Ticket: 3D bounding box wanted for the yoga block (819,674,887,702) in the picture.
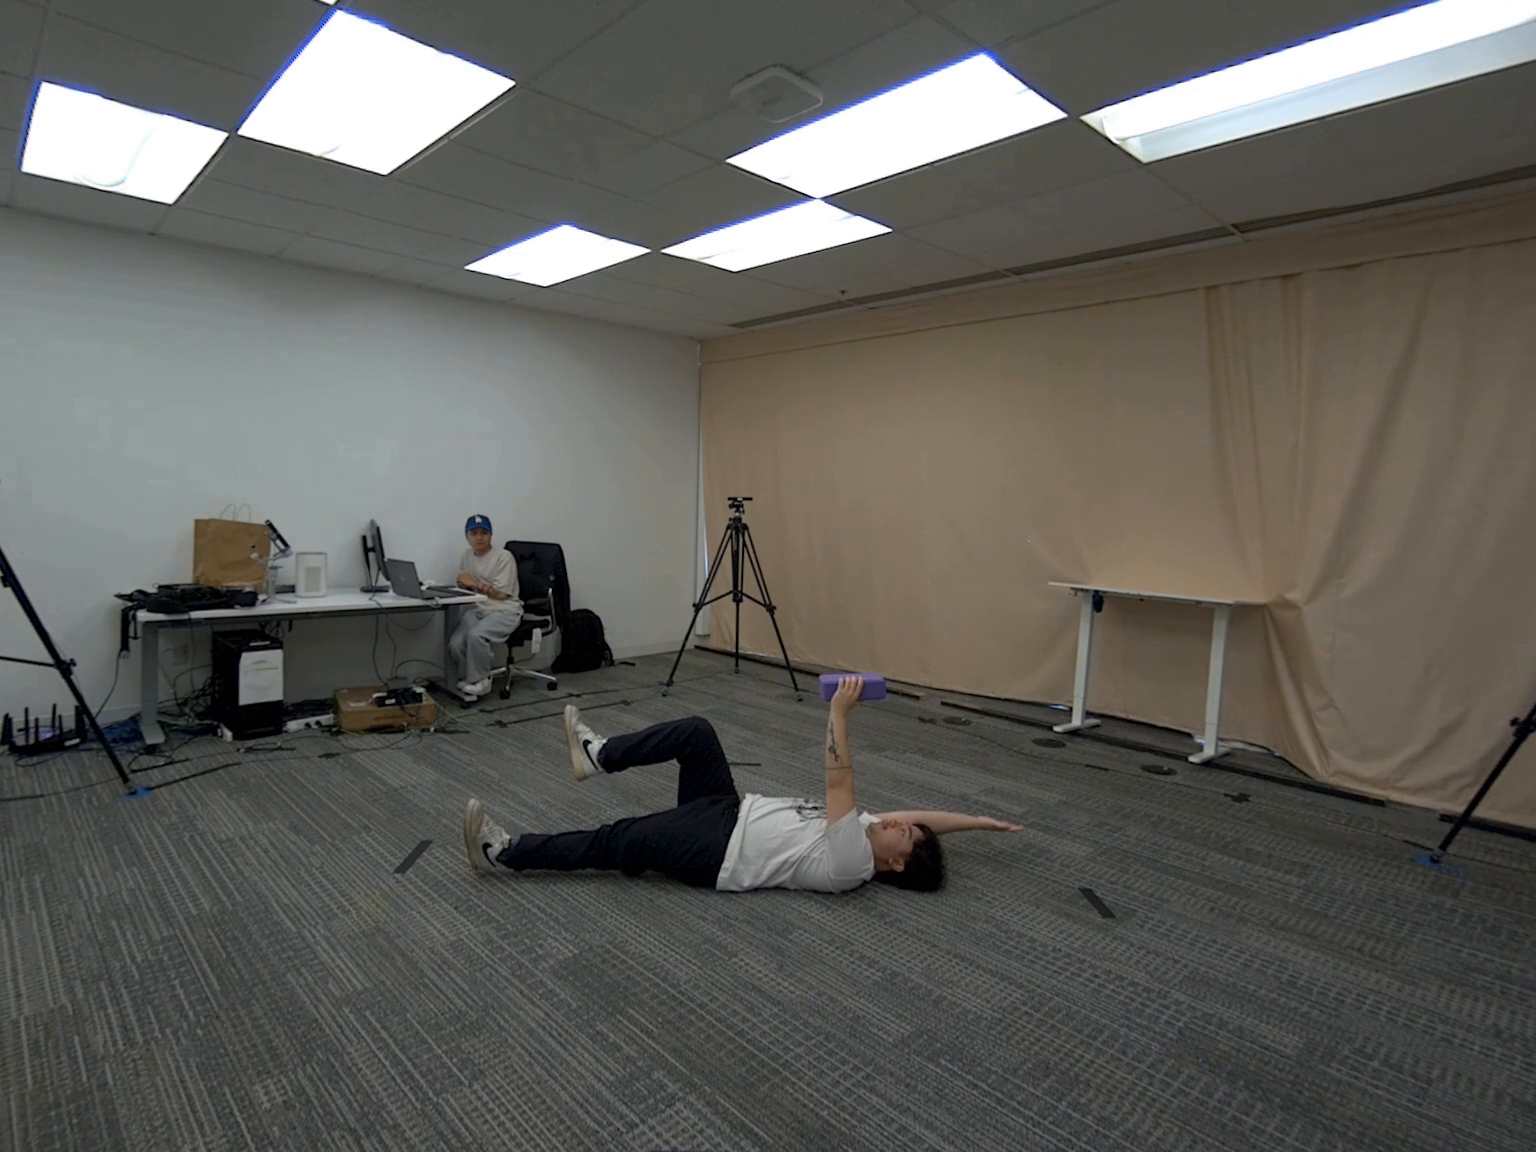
[{"bbox_3d":[0.318,0.416,3.128,0.230,0.076,0.149,-3,4,2],"label":"yoga block"}]
